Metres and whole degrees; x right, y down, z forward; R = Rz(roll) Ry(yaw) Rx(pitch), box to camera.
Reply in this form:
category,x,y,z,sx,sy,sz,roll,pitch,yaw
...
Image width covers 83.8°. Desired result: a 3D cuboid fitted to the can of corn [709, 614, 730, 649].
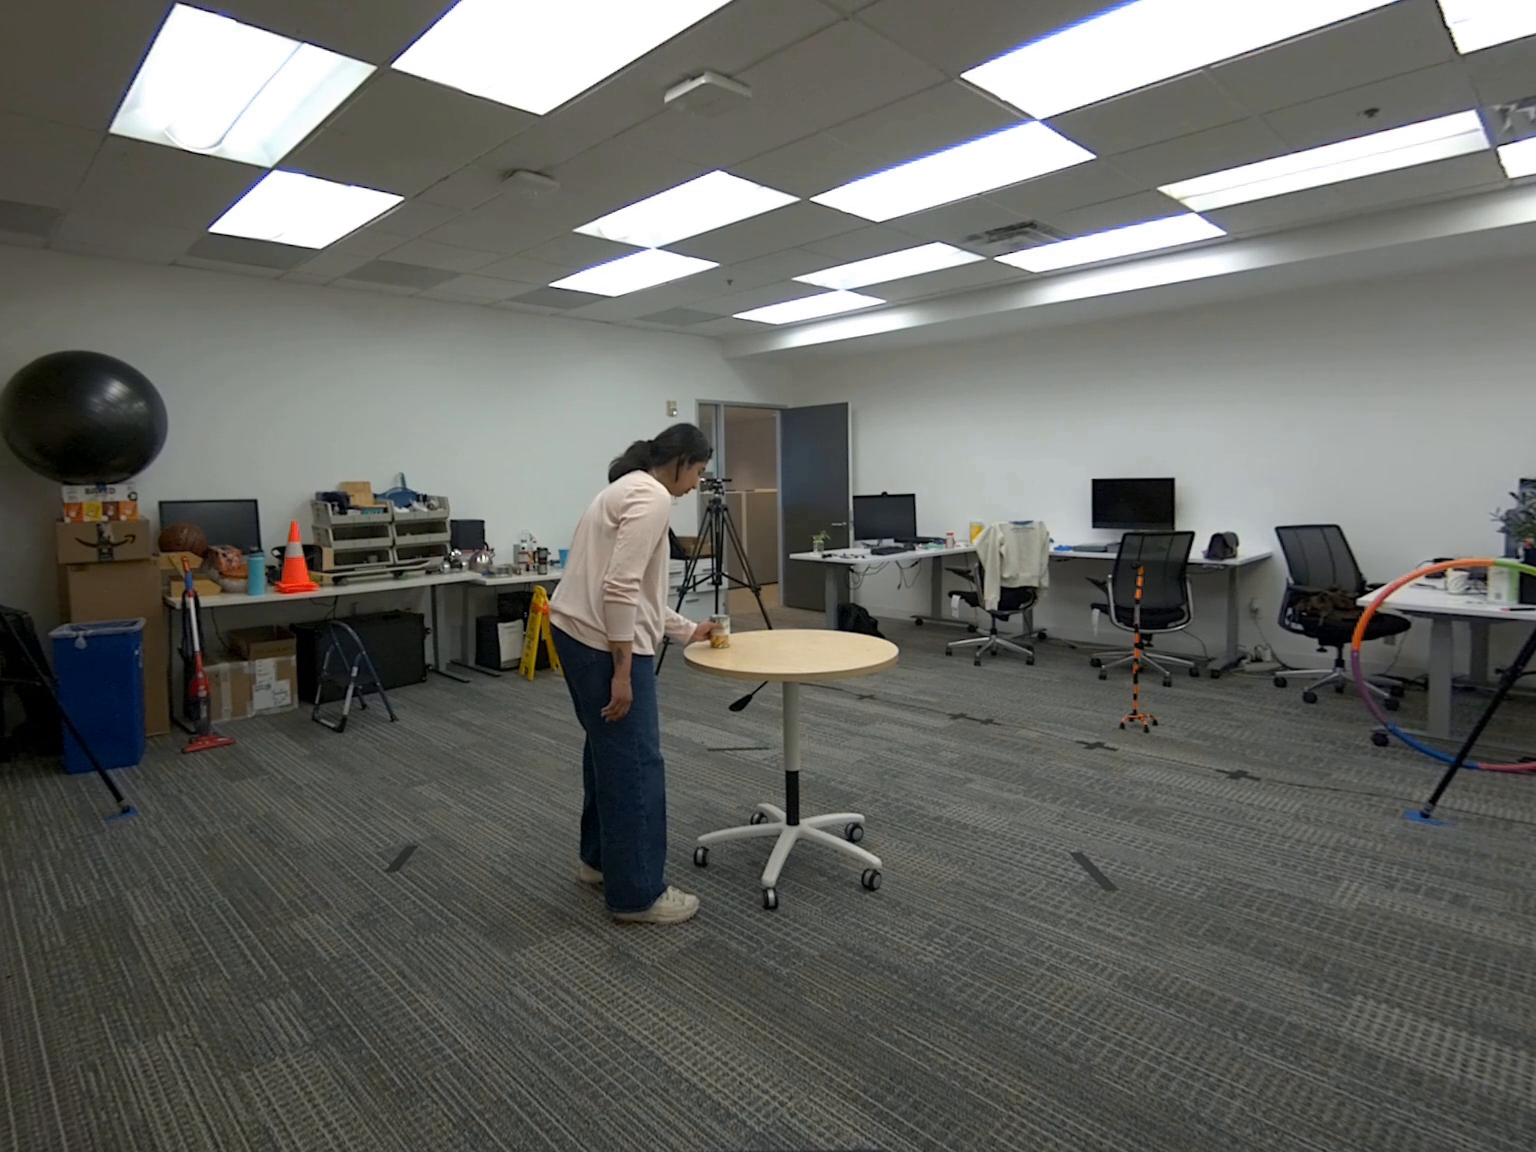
category,x,y,z,sx,sy,sz,roll,pitch,yaw
can of corn,-0.175,0.200,3.137,0.074,0.110,0.075,0,6,-2
